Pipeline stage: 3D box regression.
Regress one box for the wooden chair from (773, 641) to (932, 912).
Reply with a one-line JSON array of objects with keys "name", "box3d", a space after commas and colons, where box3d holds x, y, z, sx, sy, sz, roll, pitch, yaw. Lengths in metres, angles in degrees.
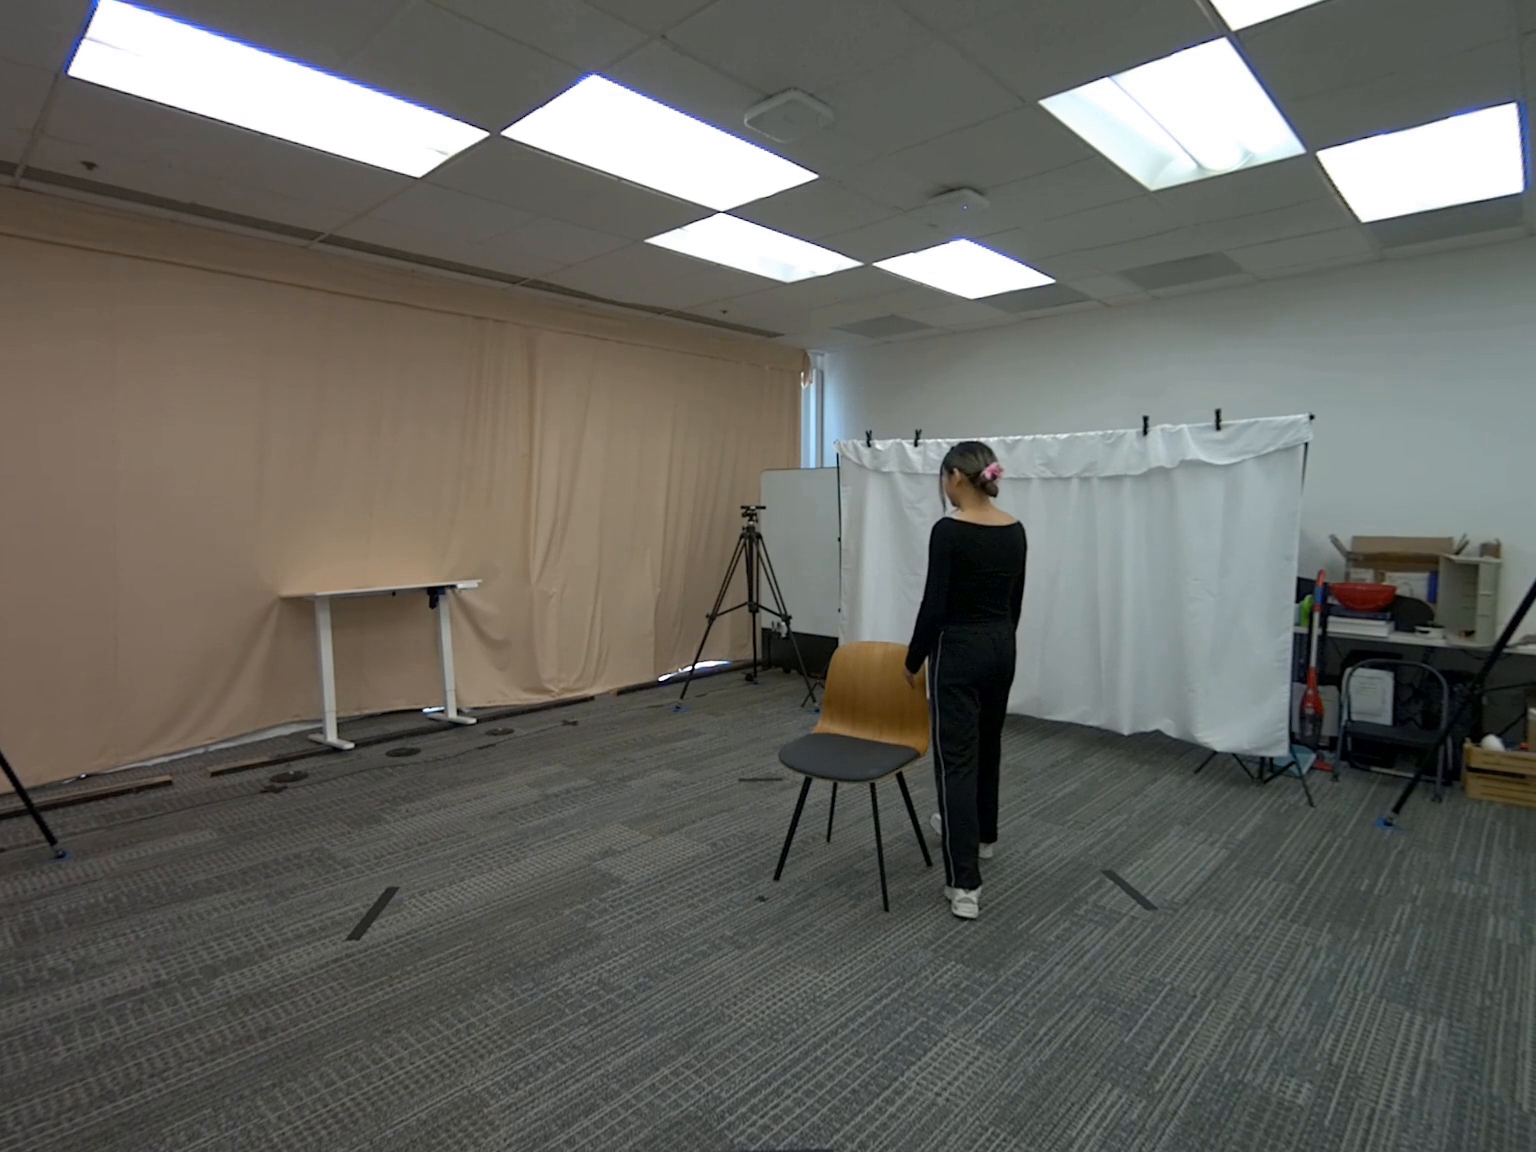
[{"name": "wooden chair", "box3d": [0.323, 0.702, 3.158, 0.492, 0.877, 0.507, 2, 0, 32]}]
